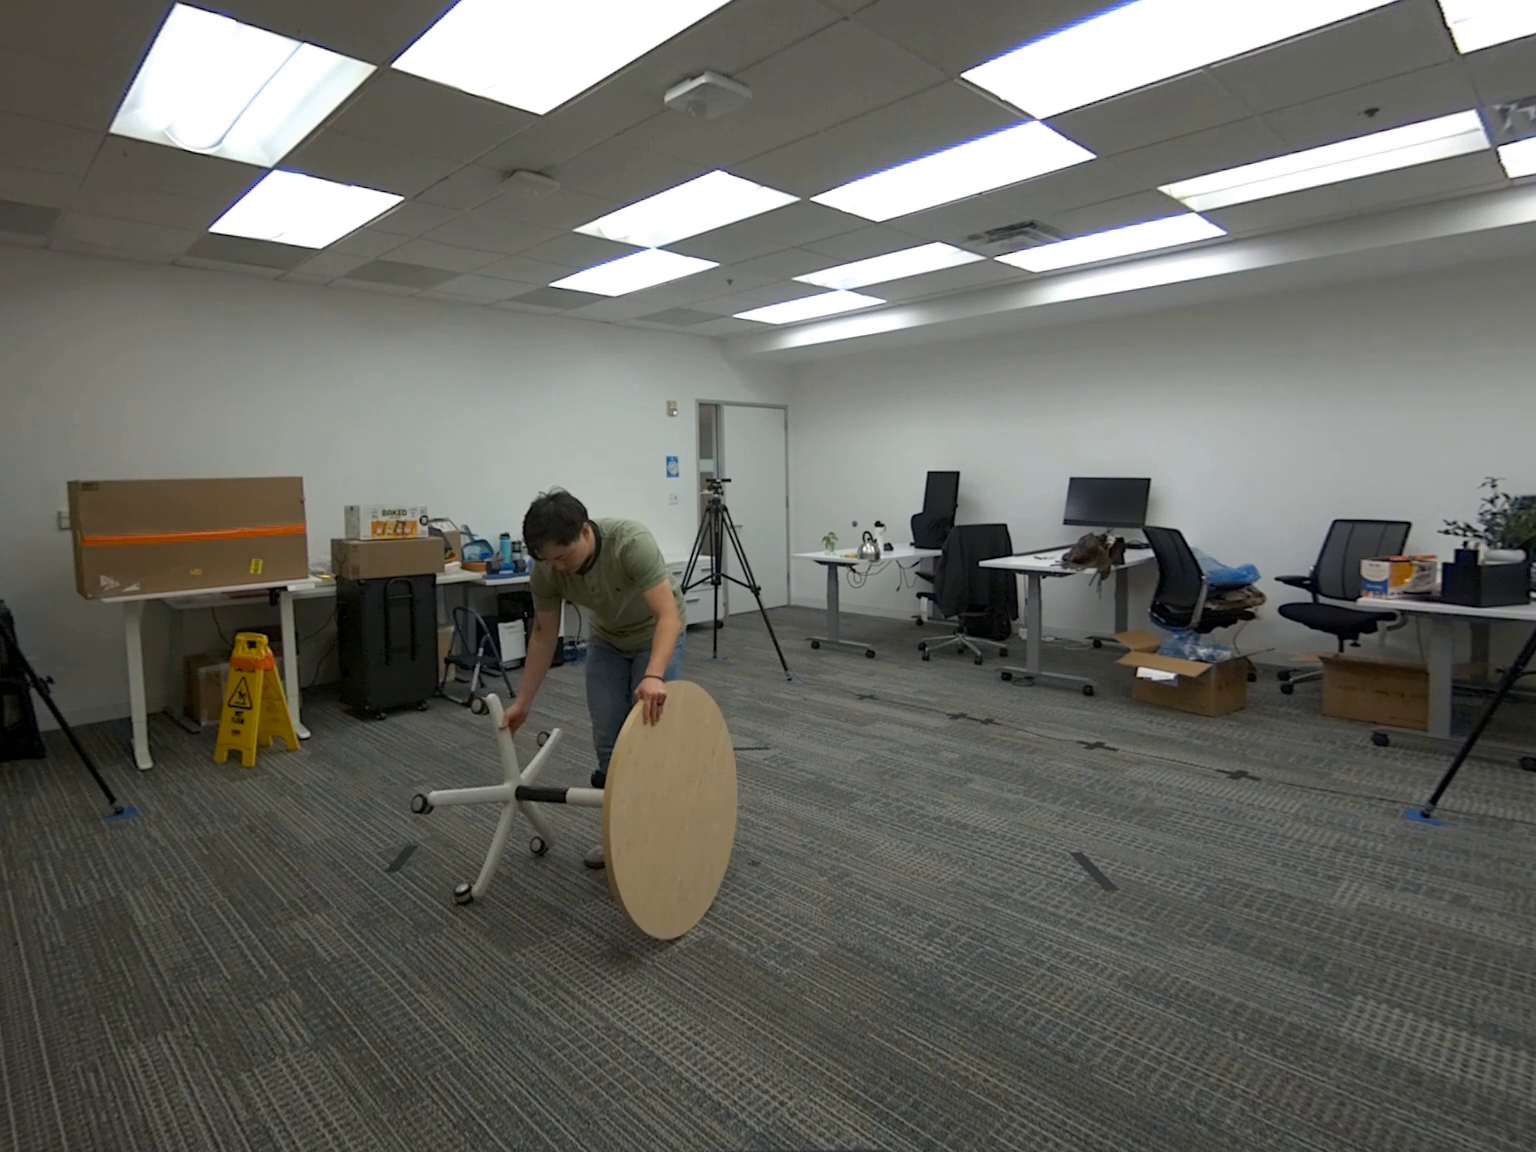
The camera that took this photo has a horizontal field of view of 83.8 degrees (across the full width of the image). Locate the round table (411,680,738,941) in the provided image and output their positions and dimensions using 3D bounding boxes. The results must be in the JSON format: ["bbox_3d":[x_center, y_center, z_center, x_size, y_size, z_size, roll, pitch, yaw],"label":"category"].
[{"bbox_3d":[-0.629,0.746,2.857,0.811,0.763,0.749,-5,2,27],"label":"round table"}]
